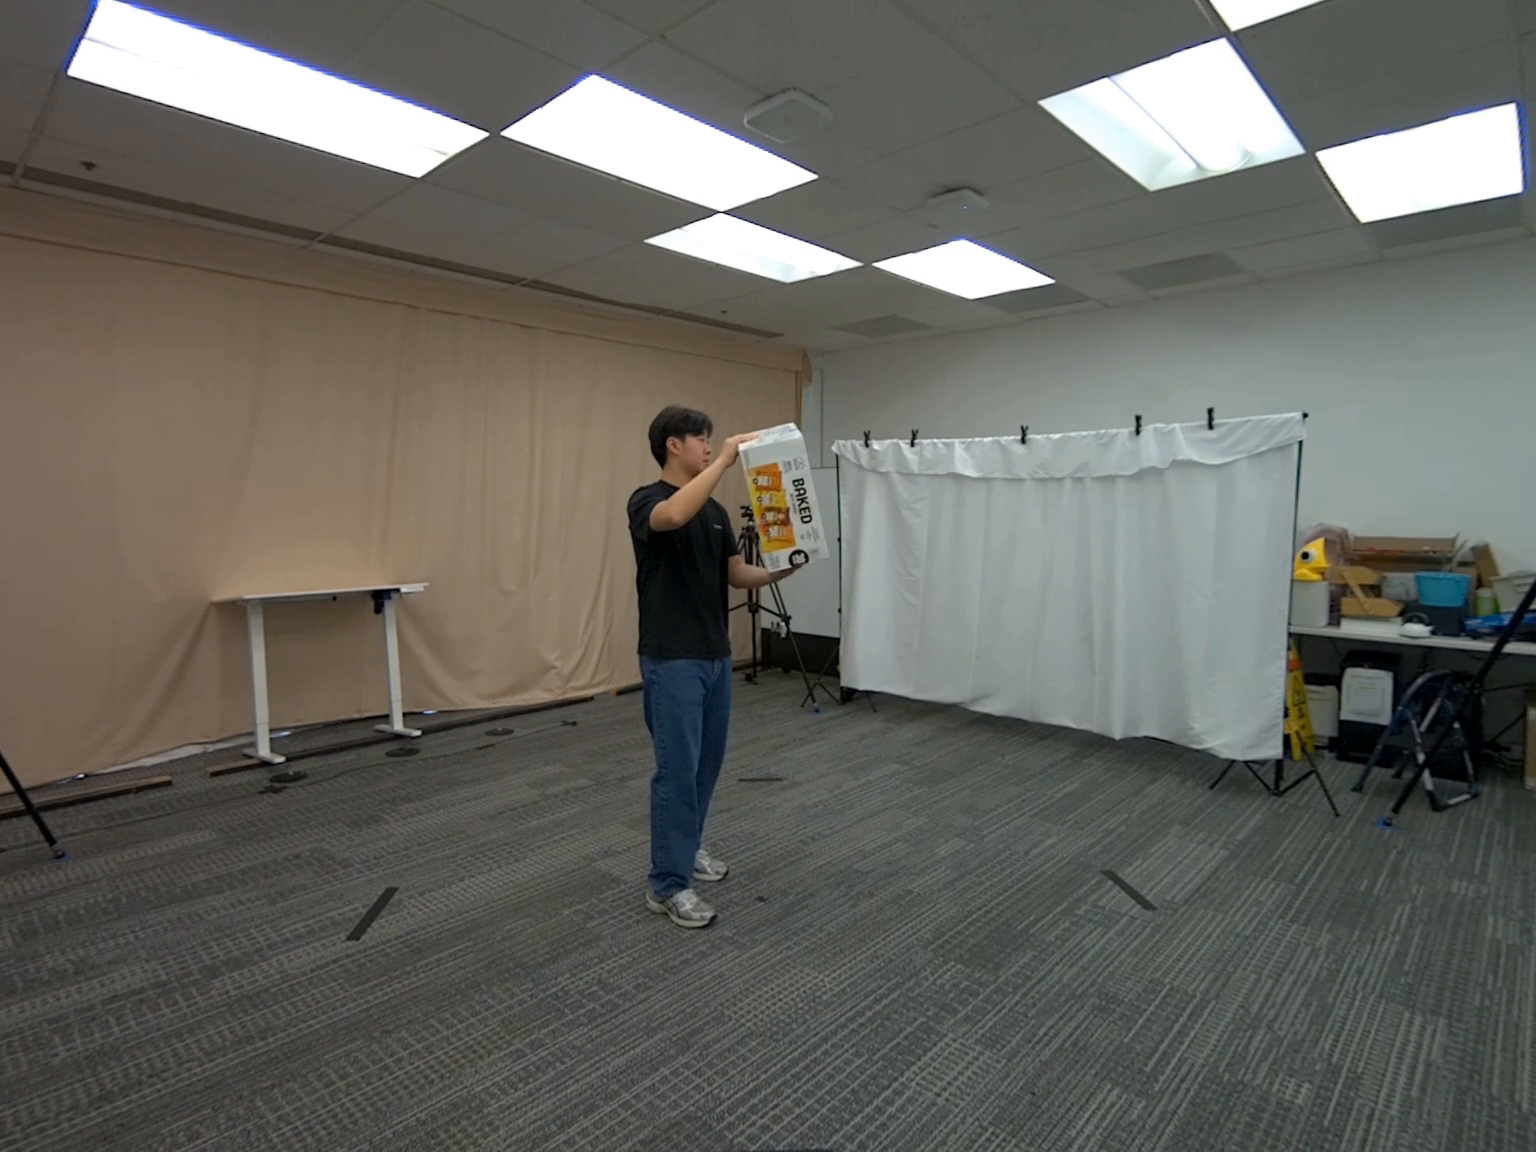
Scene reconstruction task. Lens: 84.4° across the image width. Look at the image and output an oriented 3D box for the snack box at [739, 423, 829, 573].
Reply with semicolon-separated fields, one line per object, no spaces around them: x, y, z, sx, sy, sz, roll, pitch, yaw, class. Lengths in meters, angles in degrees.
0.040;-0.265;2.786;0.206;0.400;0.344;-12;16;1;snack box
